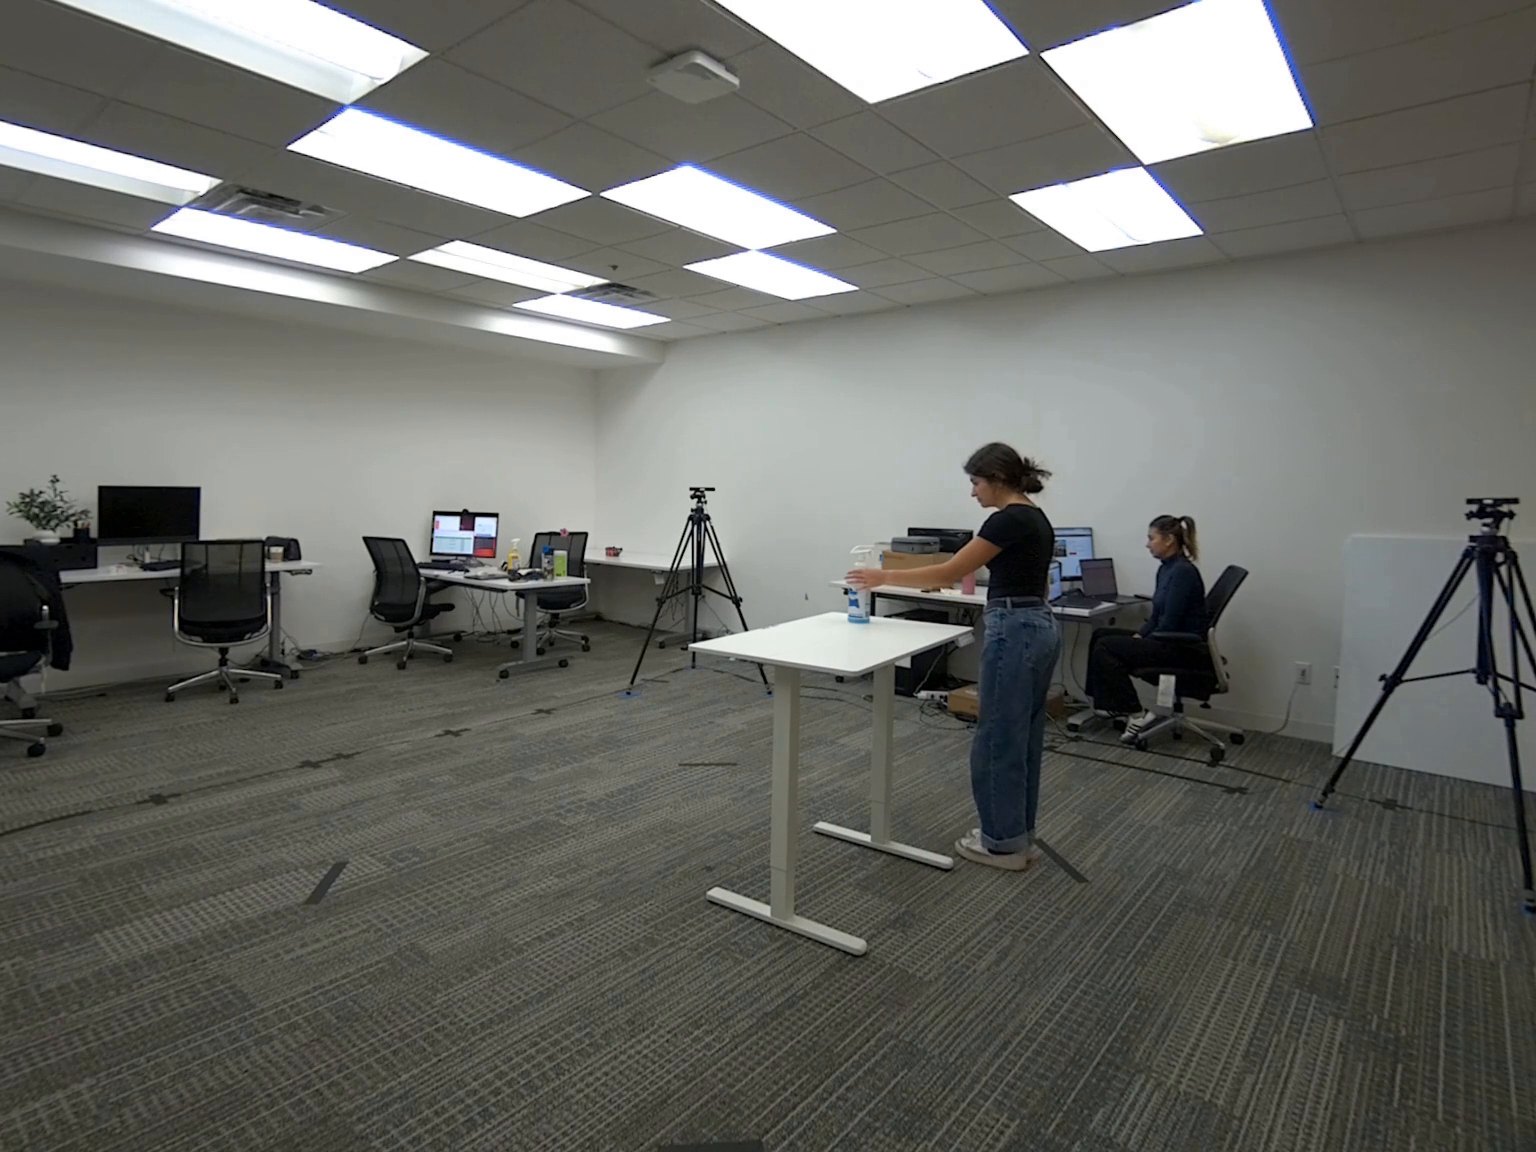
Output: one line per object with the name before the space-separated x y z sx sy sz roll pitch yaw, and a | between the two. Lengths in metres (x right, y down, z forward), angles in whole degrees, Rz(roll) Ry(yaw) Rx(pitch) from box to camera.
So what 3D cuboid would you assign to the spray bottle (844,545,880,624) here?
spray bottle | 0.353 0.031 3.307 0.092 0.297 0.085 5 1 15
